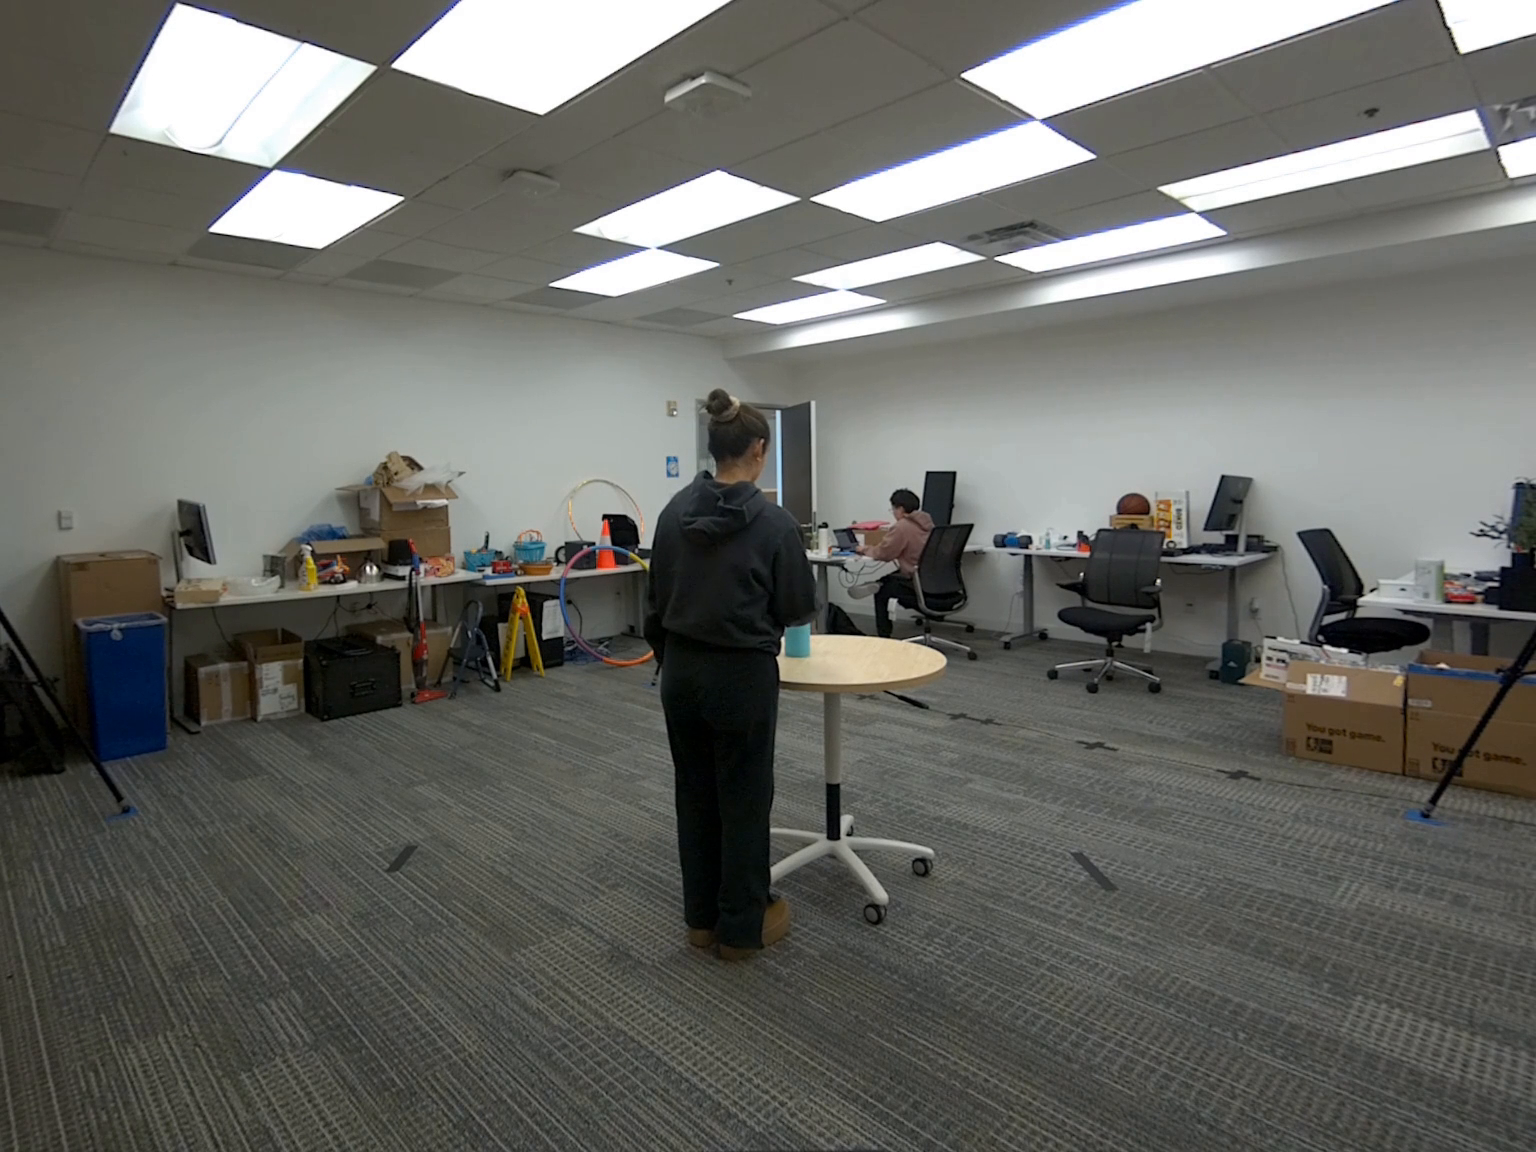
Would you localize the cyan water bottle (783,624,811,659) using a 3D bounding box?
[{"bbox_3d":[0.103,0.139,2.951,0.092,0.282,0.093,-3,4,-1],"label":"cyan water bottle"}]
